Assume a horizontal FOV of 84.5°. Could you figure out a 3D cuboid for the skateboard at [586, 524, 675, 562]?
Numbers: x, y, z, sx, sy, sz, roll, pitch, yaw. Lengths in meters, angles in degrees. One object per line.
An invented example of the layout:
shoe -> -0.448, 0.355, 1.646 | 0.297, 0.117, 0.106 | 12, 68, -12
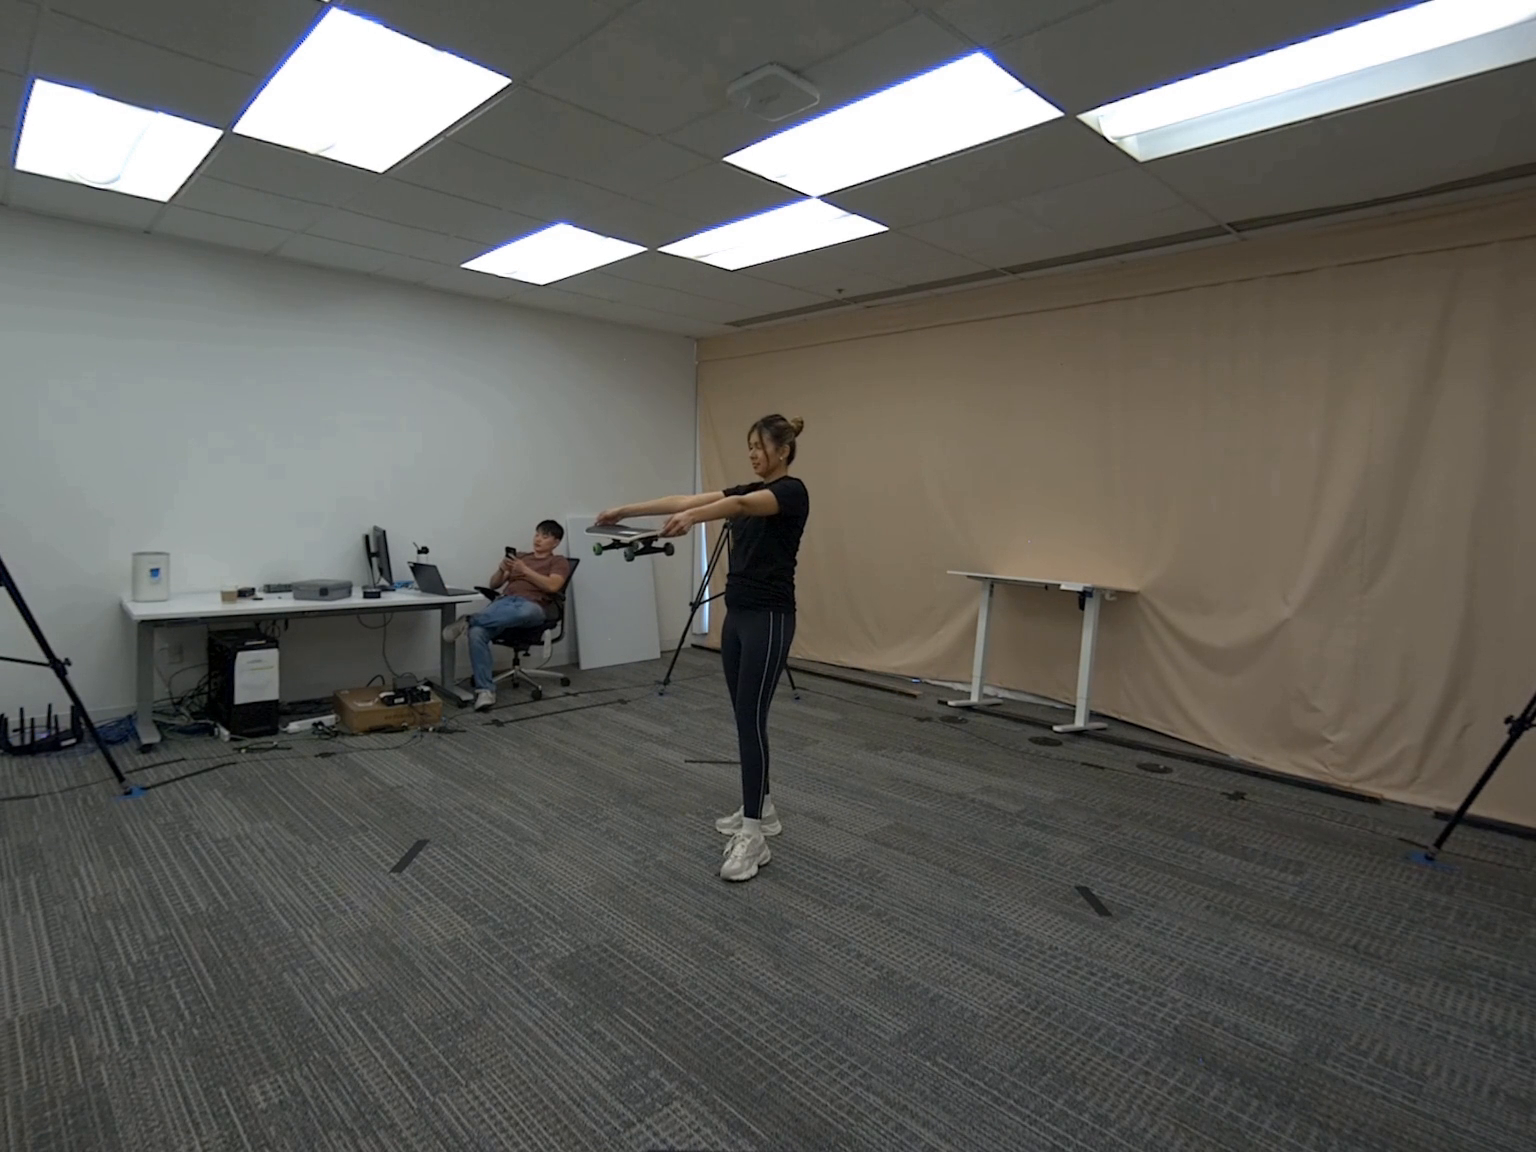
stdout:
skateboard -> -0.517, -0.128, 3.195 | 0.190, 0.110, 0.801 | -8, 7, -25
